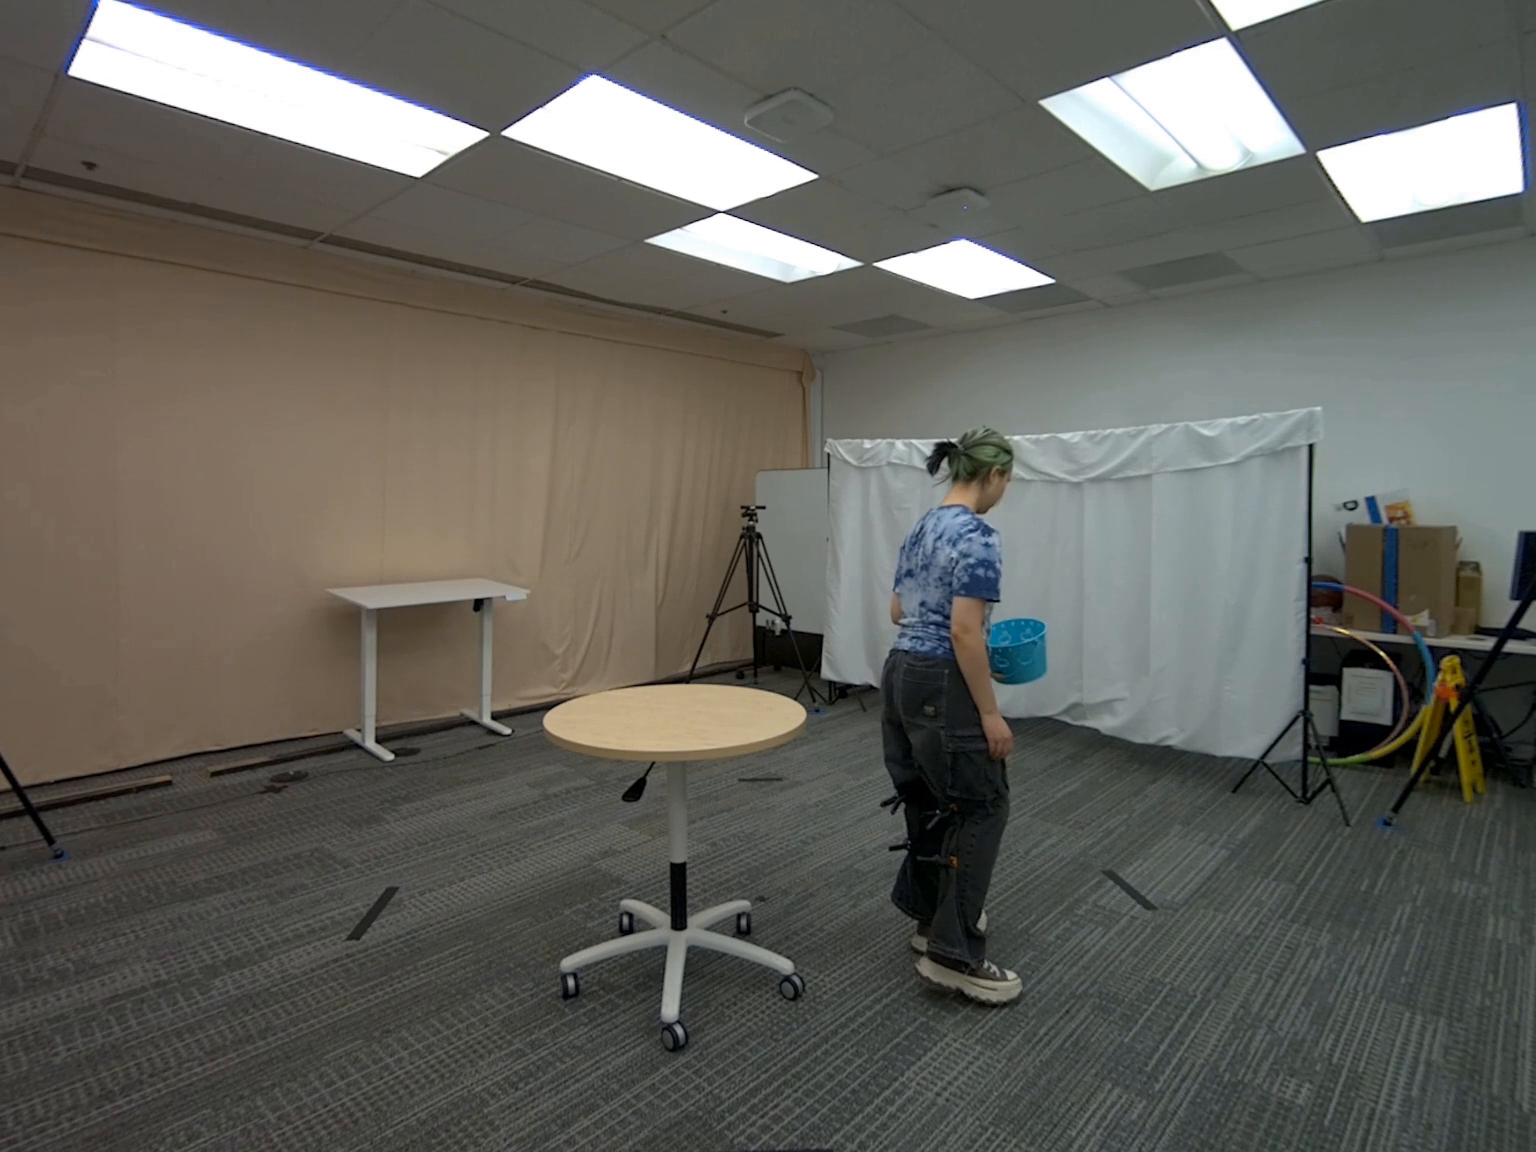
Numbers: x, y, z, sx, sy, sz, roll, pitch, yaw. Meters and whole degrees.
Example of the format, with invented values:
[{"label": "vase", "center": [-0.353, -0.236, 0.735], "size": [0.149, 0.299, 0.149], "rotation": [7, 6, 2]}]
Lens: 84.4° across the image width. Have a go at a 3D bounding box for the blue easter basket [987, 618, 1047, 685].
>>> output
[{"label": "blue easter basket", "center": [0.836, 0.259, 2.835], "size": [0.244, 0.154, 0.246], "rotation": [-15, 14, 2]}]
